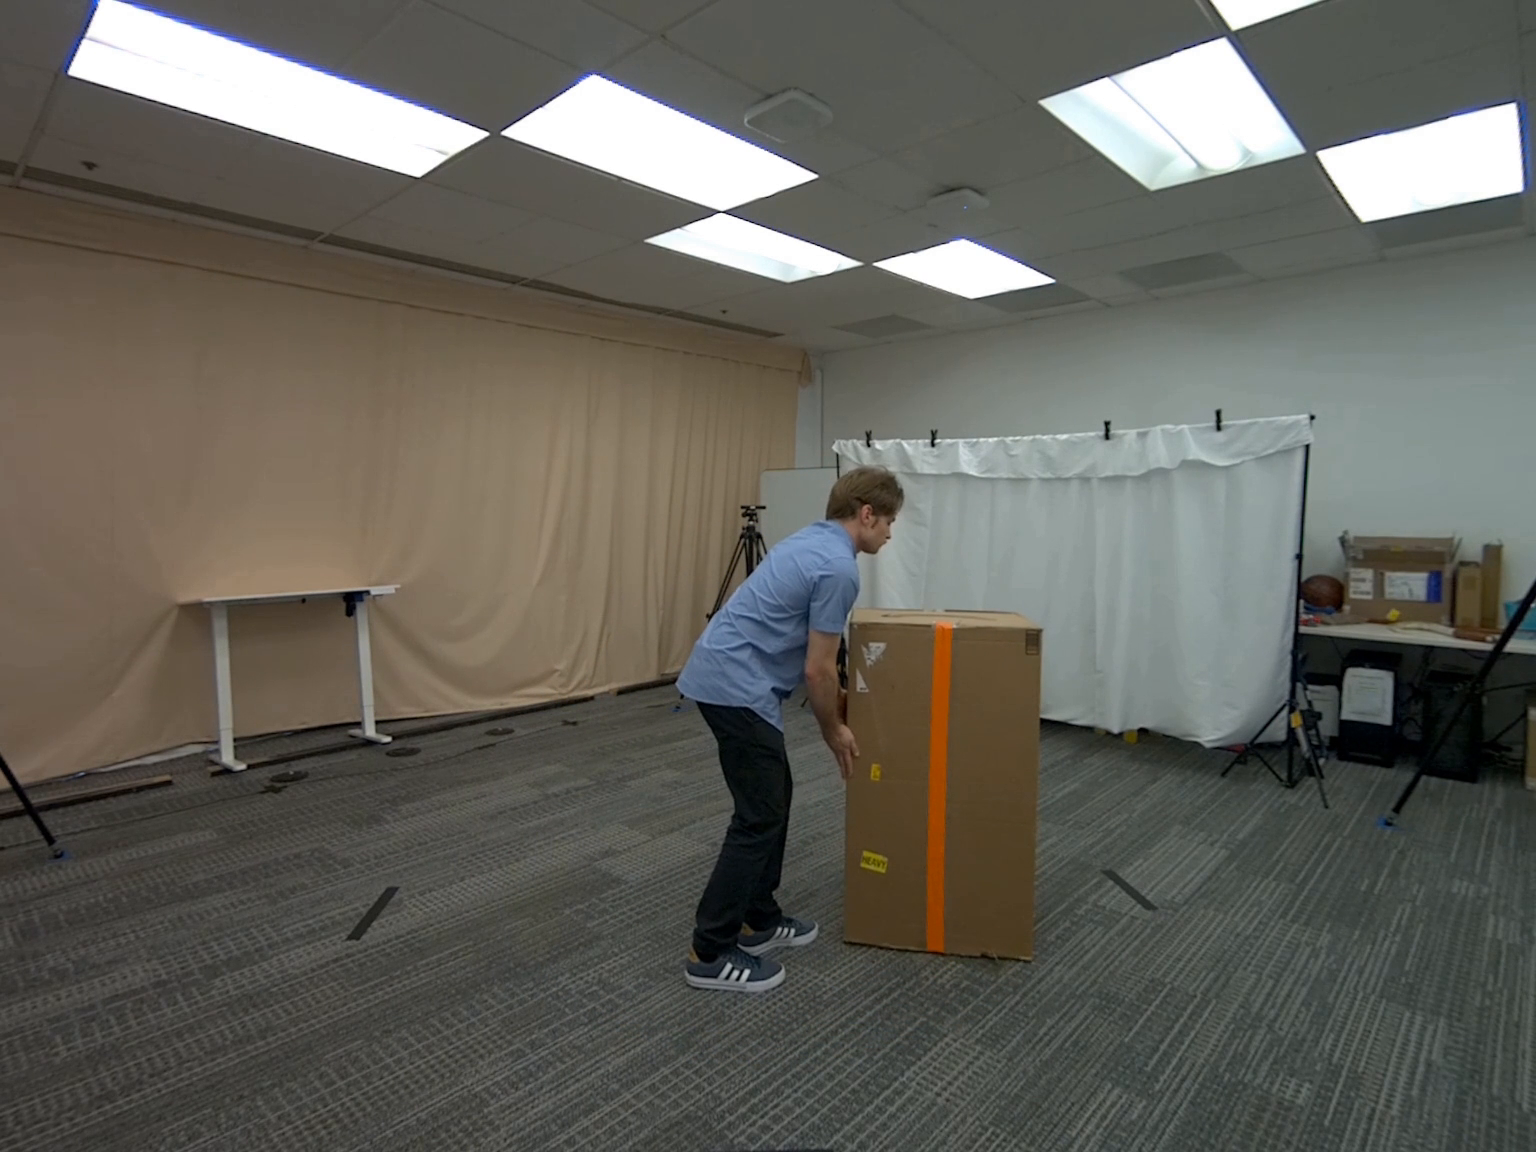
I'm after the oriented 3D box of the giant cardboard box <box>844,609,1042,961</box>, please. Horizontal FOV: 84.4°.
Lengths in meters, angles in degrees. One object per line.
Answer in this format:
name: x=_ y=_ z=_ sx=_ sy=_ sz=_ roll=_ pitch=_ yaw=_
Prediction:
giant cardboard box: x=0.562 y=0.647 z=2.803 sx=0.584 sy=1.024 sz=0.422 roll=2 pitch=3 yaw=10
